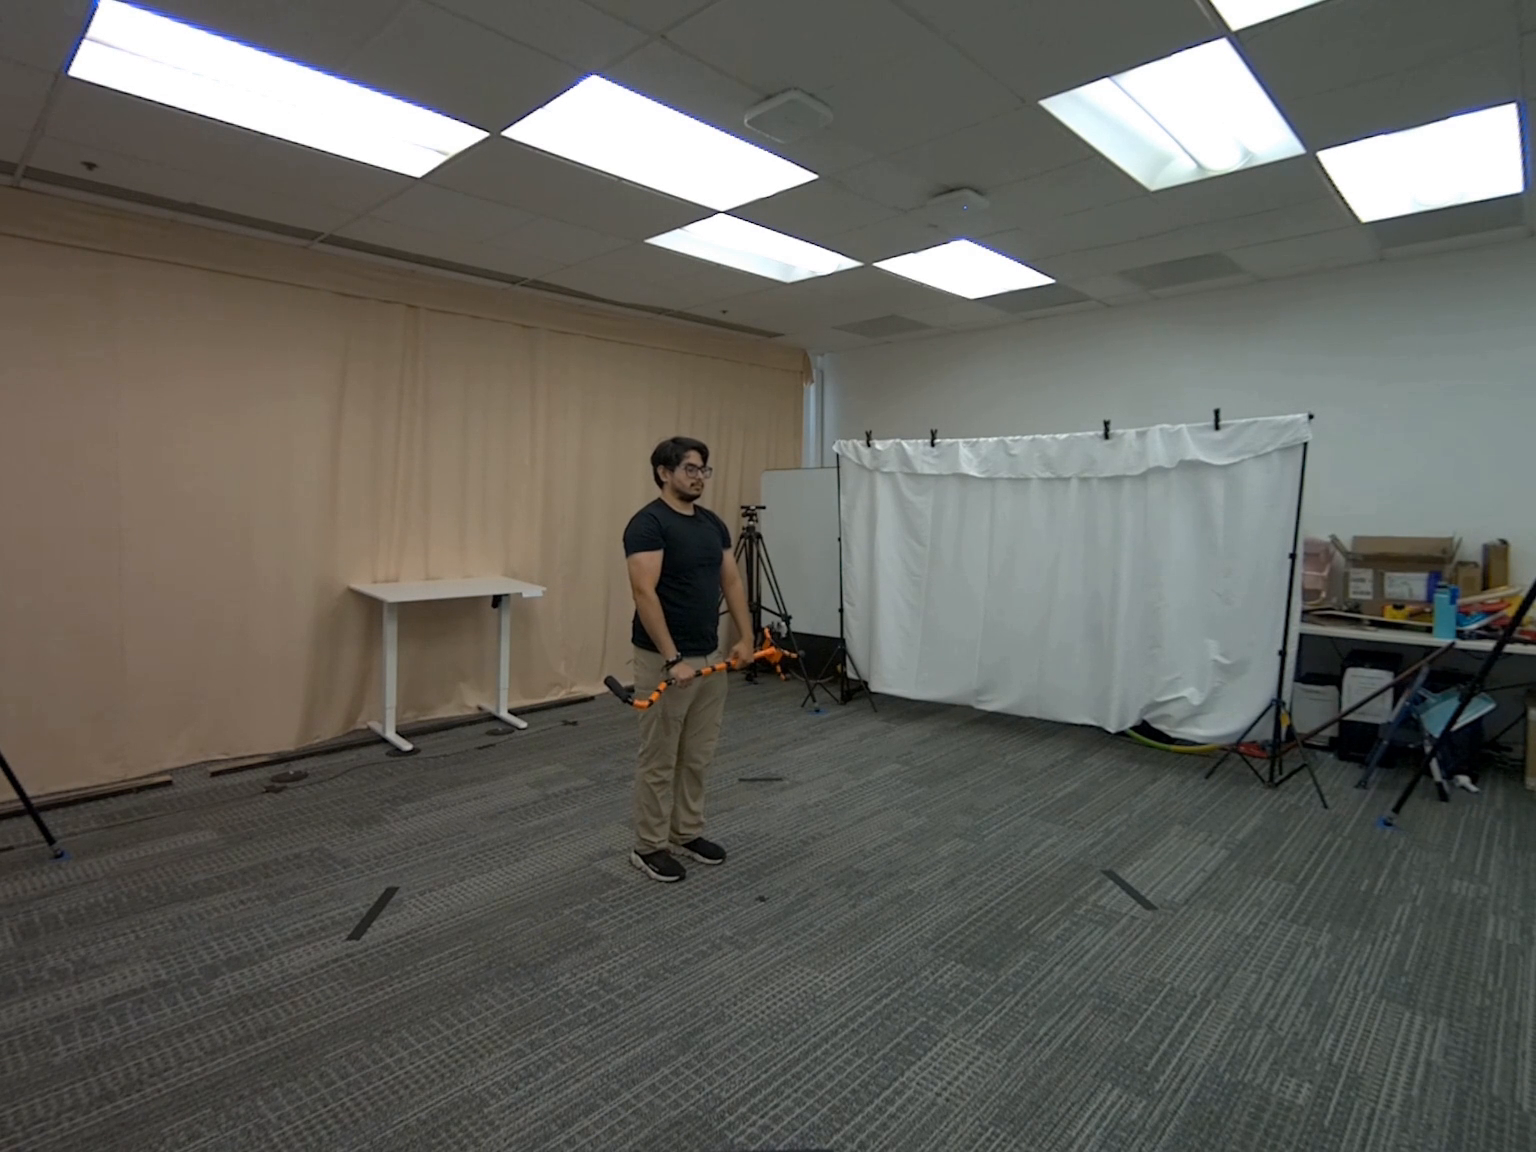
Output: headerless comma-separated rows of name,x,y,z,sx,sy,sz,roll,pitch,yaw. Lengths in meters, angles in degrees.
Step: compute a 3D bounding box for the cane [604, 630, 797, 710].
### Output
cane,-0.207,0.364,3.095,0.213,0.151,0.882,42,30,27
